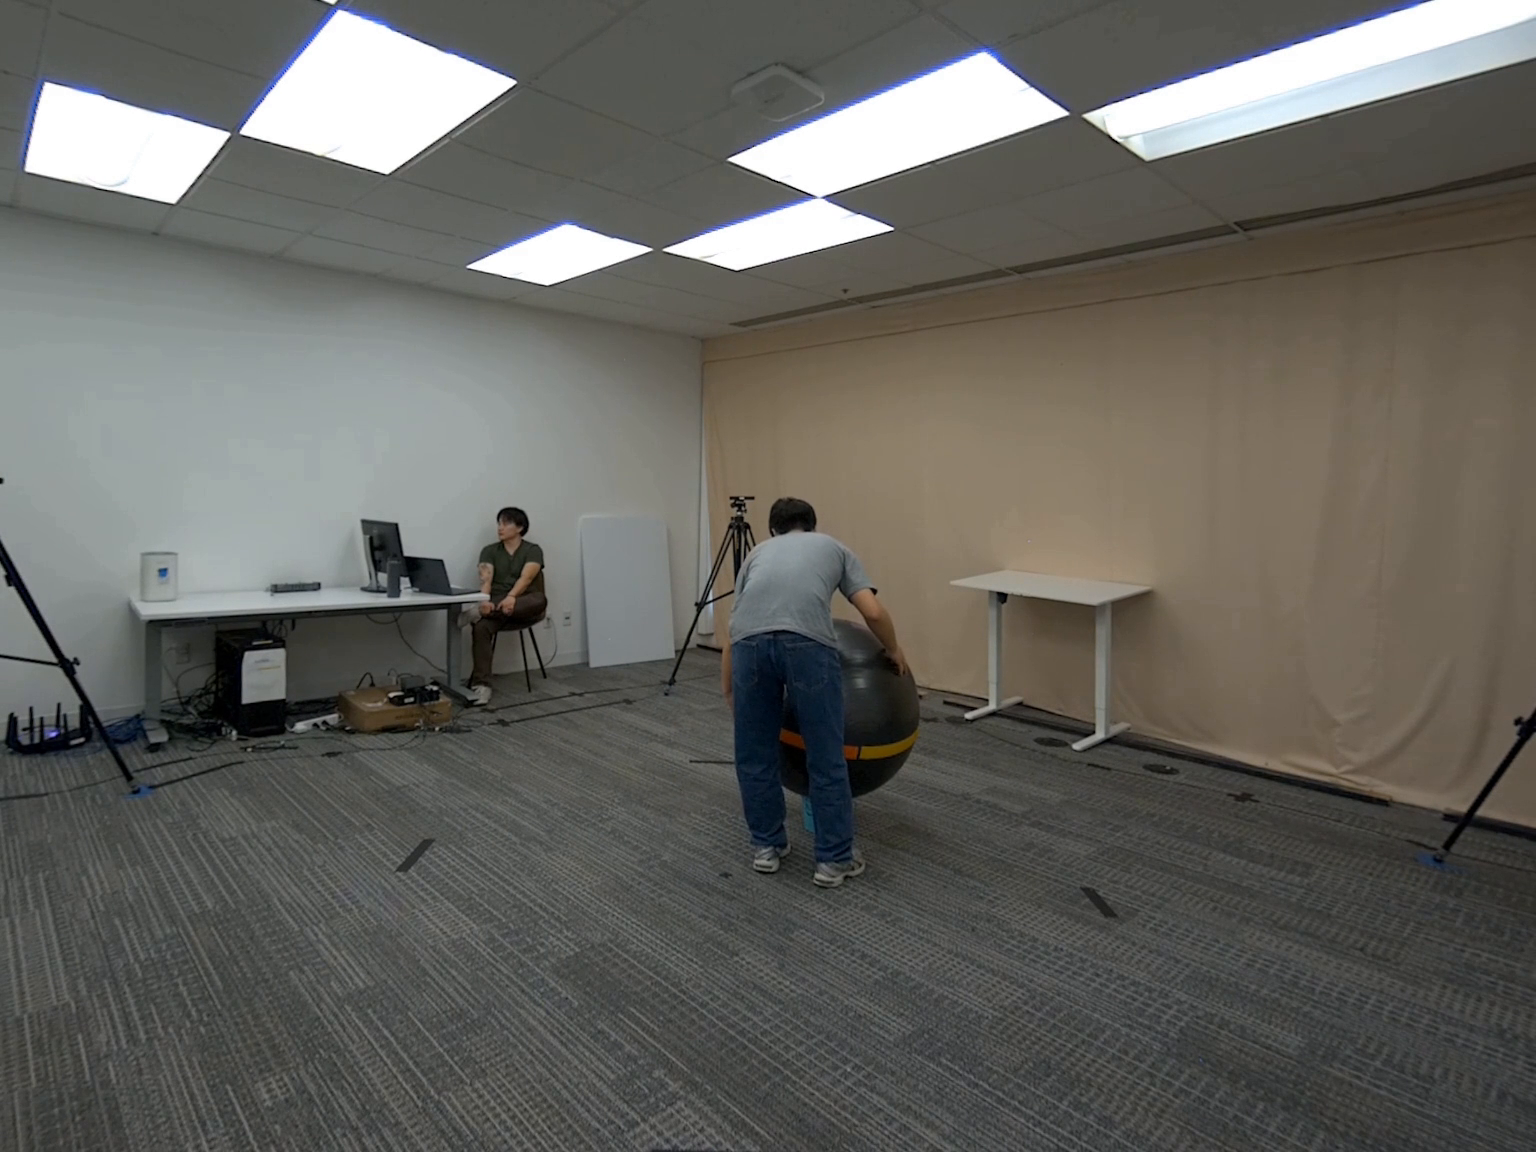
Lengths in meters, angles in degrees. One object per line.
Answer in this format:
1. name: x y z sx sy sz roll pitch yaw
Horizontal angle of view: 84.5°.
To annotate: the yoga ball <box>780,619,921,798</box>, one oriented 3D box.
1. yoga ball: 0.258 0.566 3.576 0.757 0.756 0.761 1 4 -1
